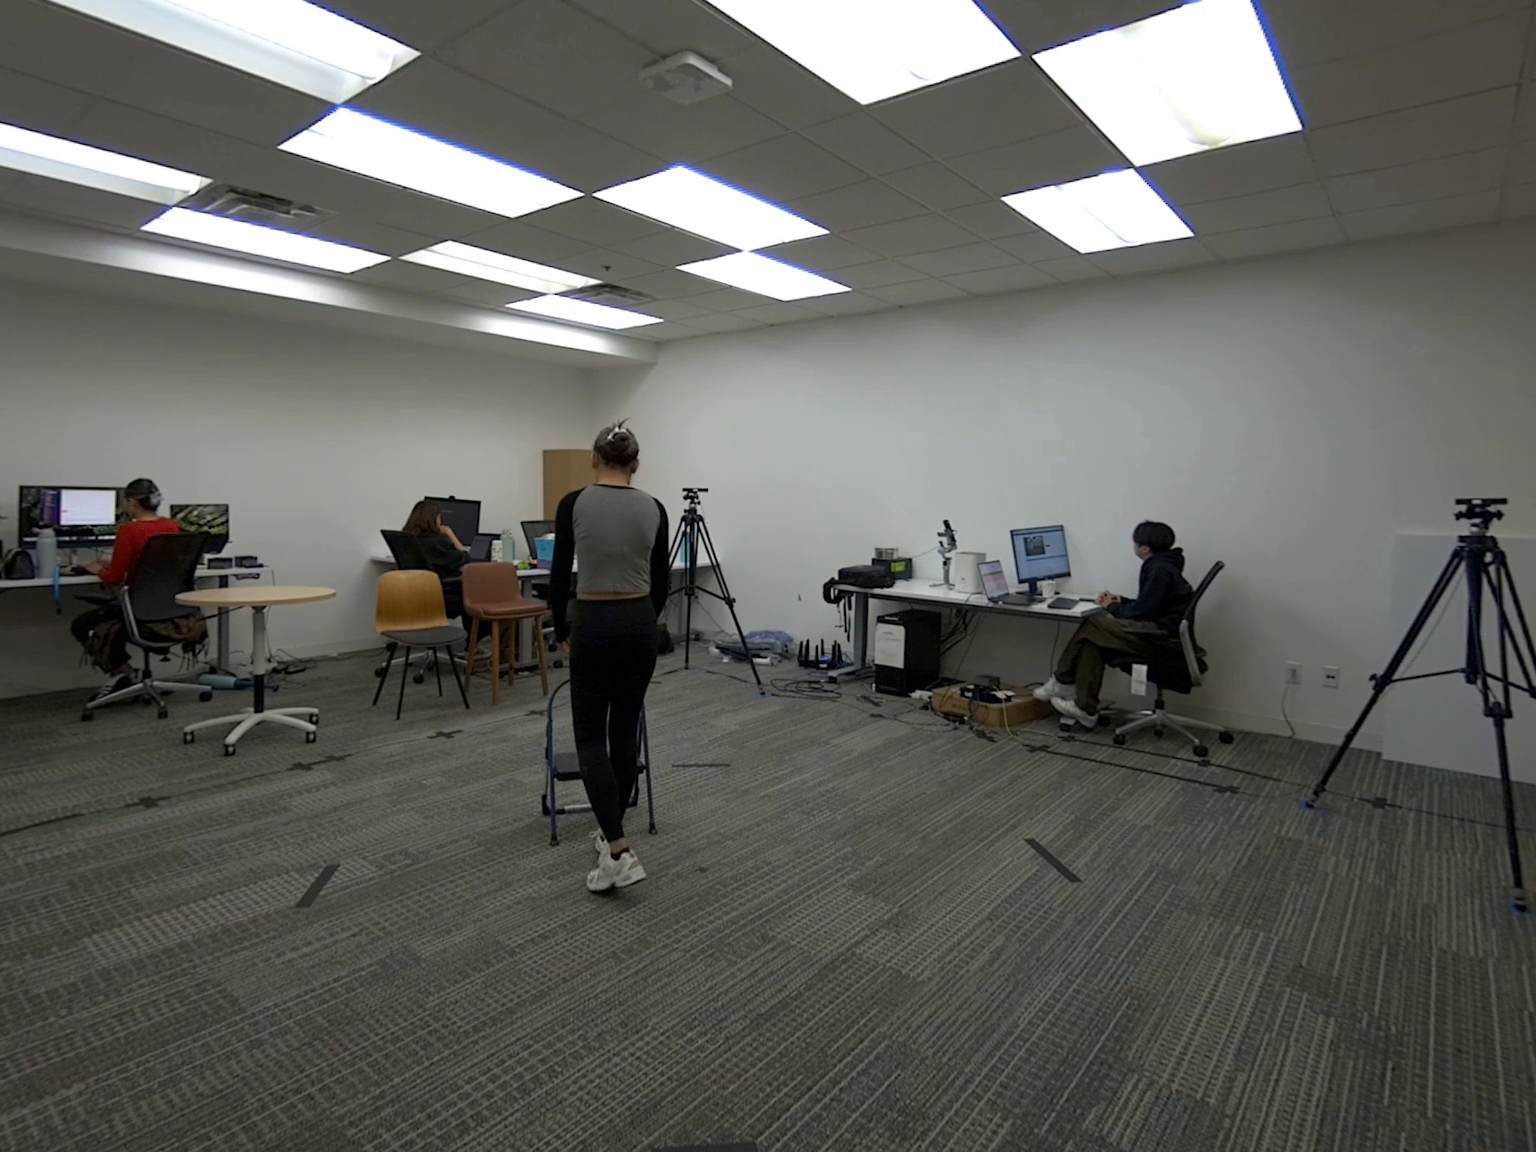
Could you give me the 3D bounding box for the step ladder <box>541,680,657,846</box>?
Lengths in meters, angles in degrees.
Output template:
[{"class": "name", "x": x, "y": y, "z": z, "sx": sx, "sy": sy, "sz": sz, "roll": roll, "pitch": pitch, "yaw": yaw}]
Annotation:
[{"class": "step ladder", "x": -0.711, "y": 0.721, "z": 3.505, "sx": 0.422, "sy": 0.605, "sz": 0.357, "roll": 0, "pitch": 3, "yaw": -21}]
